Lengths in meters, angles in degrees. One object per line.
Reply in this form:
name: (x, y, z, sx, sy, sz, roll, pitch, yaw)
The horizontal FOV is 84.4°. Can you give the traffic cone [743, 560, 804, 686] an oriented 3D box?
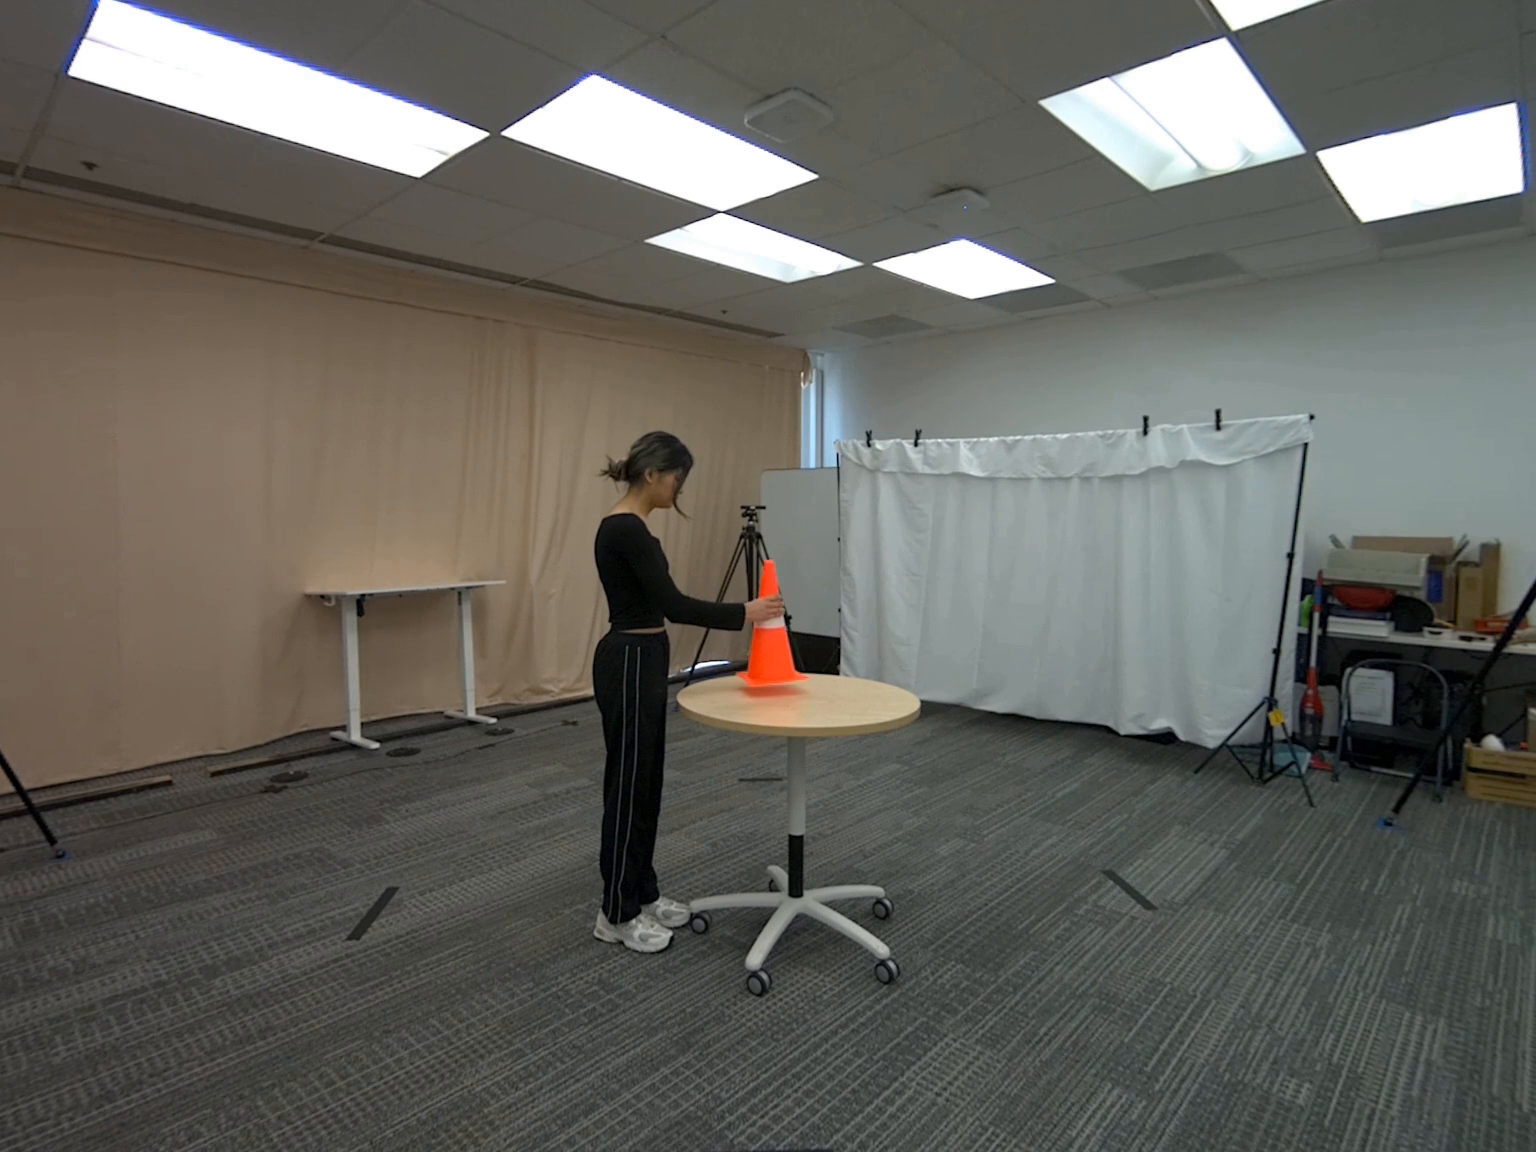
traffic cone: (0.006, 0.142, 2.735, 0.200, 0.382, 0.209, -2, 7, -18)
